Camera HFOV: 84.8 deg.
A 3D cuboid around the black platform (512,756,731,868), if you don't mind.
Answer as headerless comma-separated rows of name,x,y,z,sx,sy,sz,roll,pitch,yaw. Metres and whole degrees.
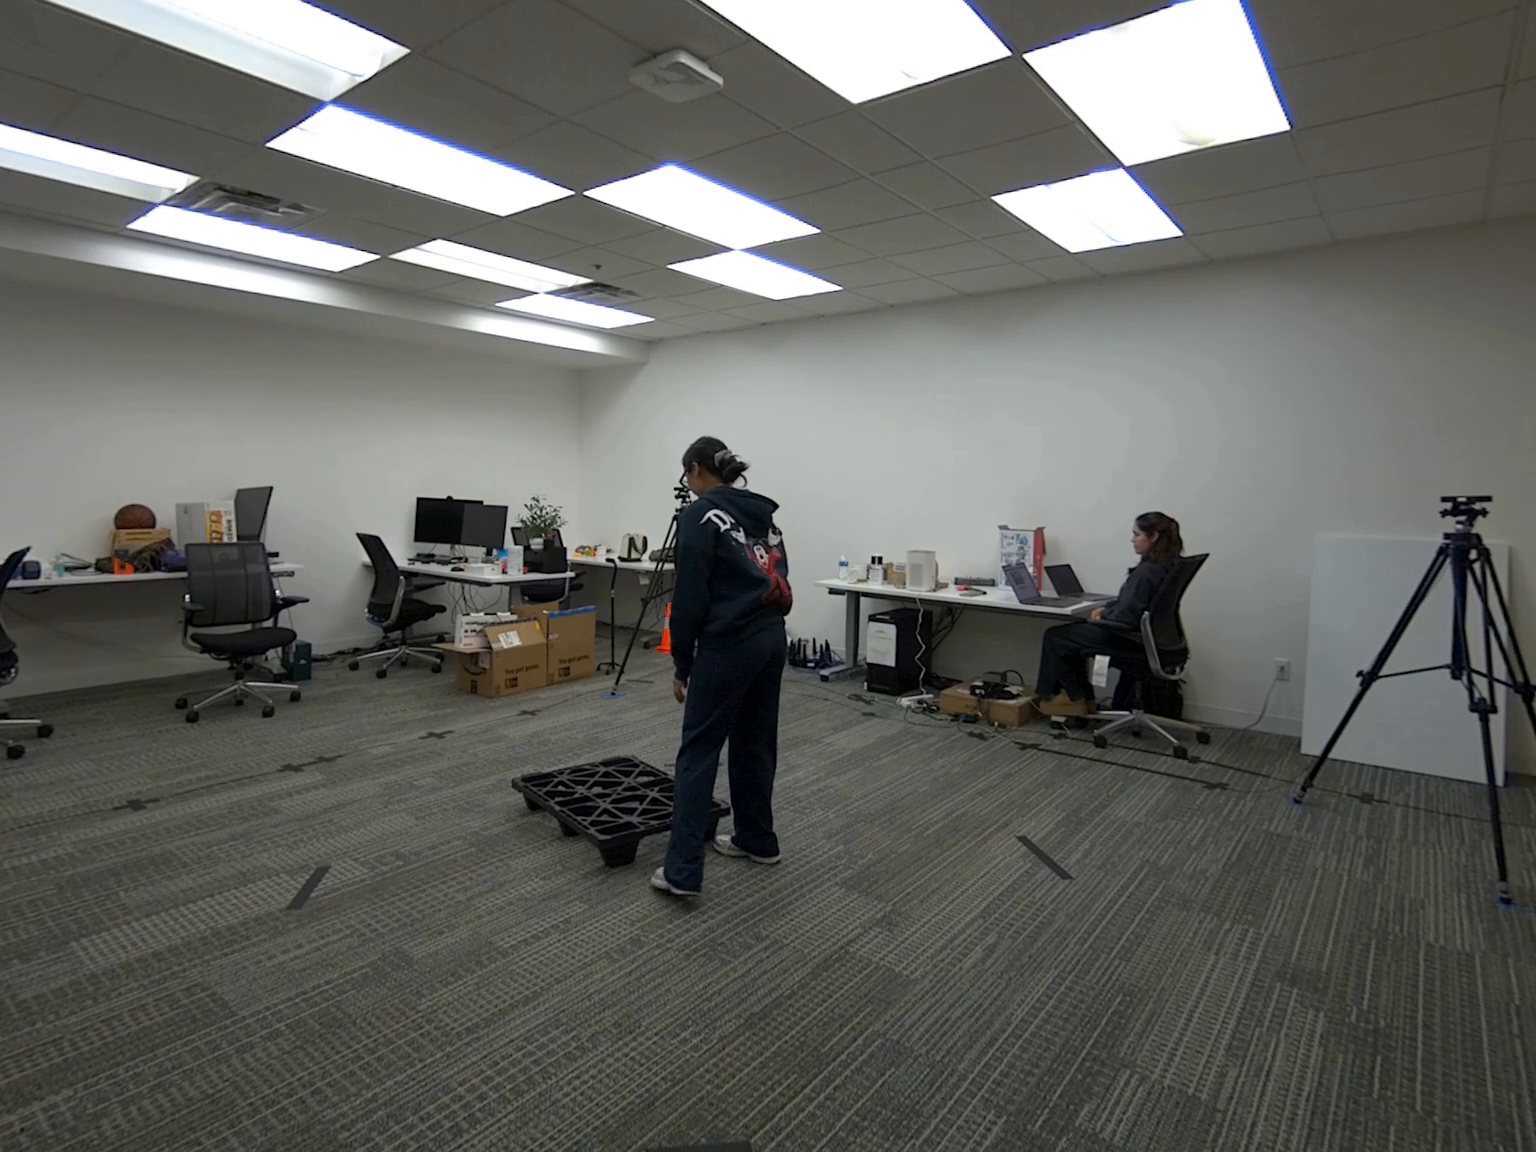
black platform,-0.639,0.953,3.517,0.587,0.143,0.833,-4,7,-38
